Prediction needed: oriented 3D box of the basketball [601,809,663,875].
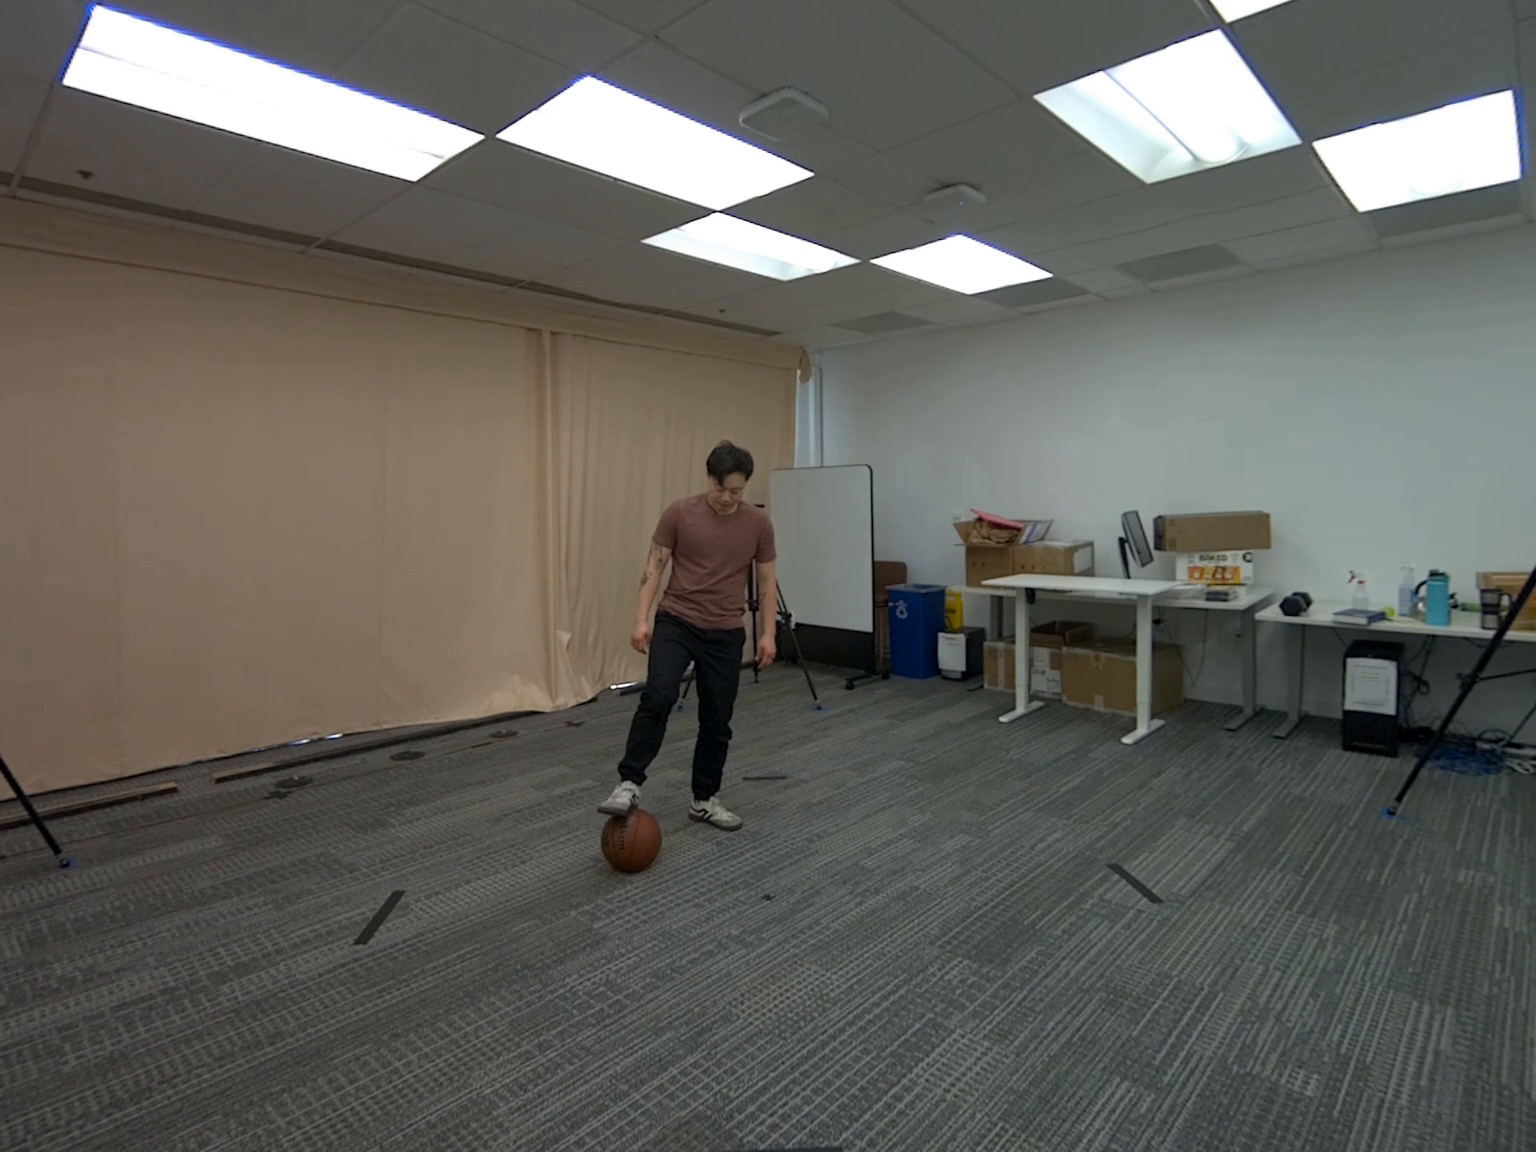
[{"bbox_3d":[-0.526,1.019,3.257,0.236,0.235,0.237,-1,4,-2],"label":"basketball"}]
